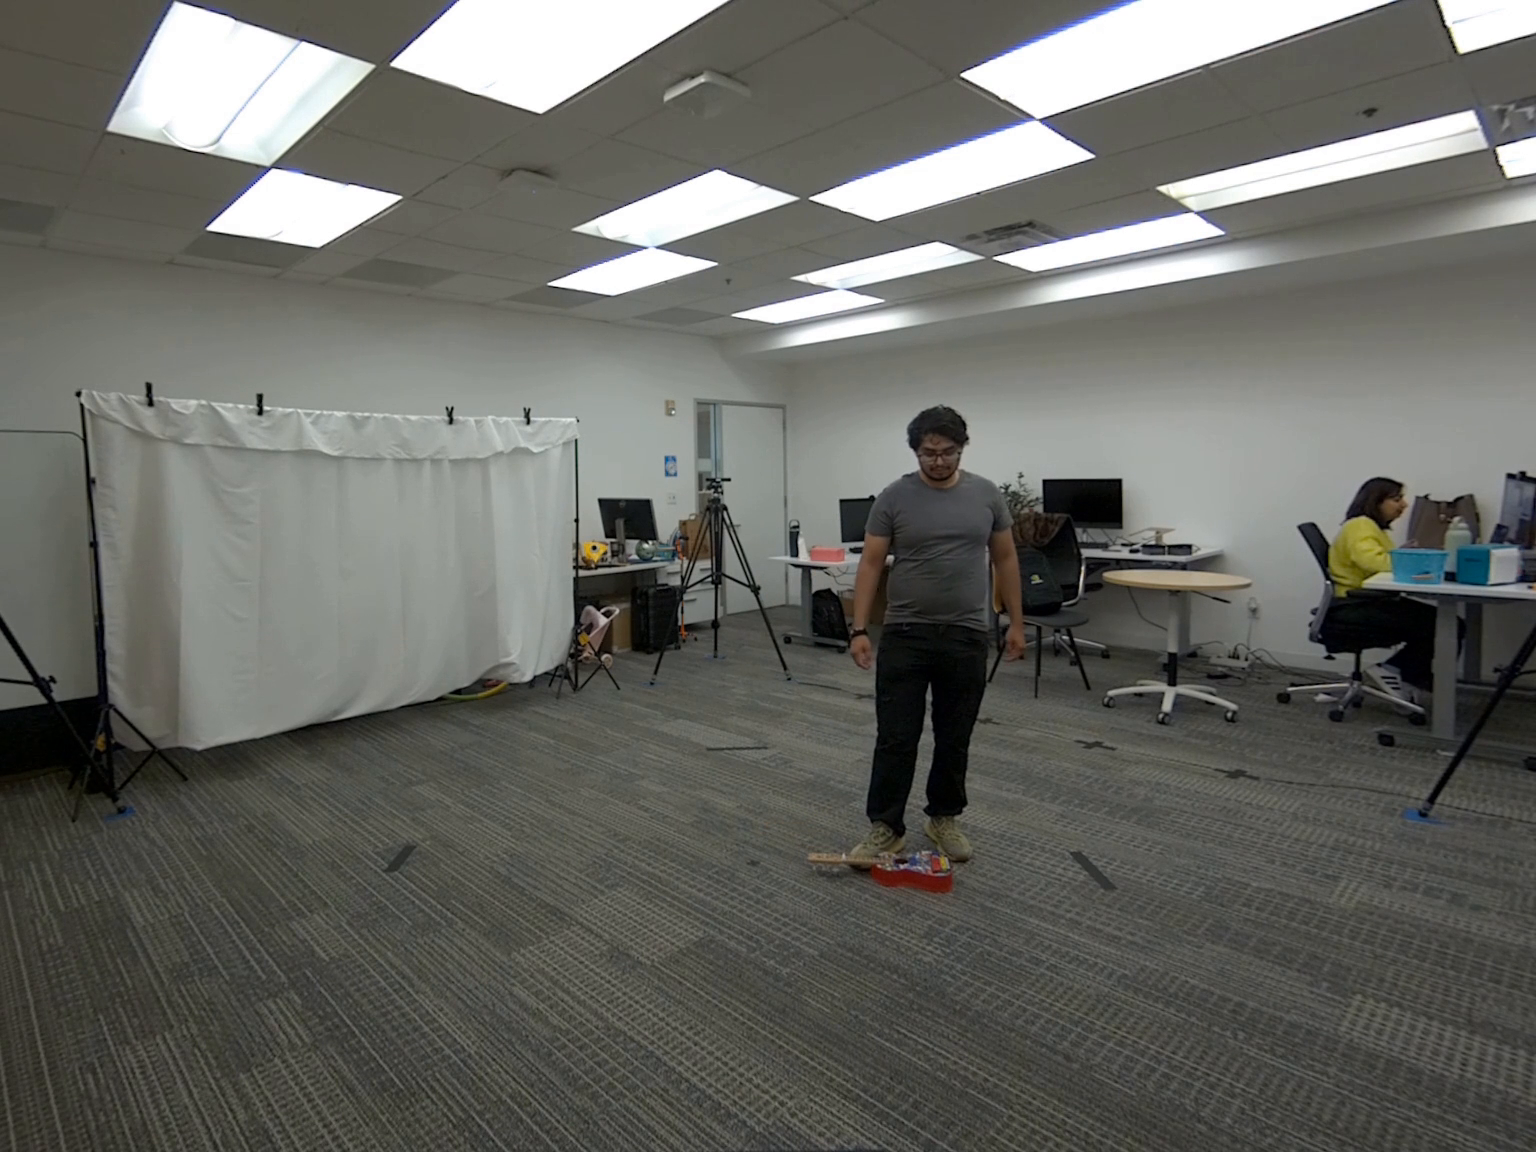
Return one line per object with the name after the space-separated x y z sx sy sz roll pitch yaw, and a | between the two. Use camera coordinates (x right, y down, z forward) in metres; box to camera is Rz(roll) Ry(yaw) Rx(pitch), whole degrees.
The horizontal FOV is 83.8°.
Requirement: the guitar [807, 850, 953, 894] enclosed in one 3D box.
0.389 1.007 3.005 0.506 0.070 0.191 1 7 16 | guitar
